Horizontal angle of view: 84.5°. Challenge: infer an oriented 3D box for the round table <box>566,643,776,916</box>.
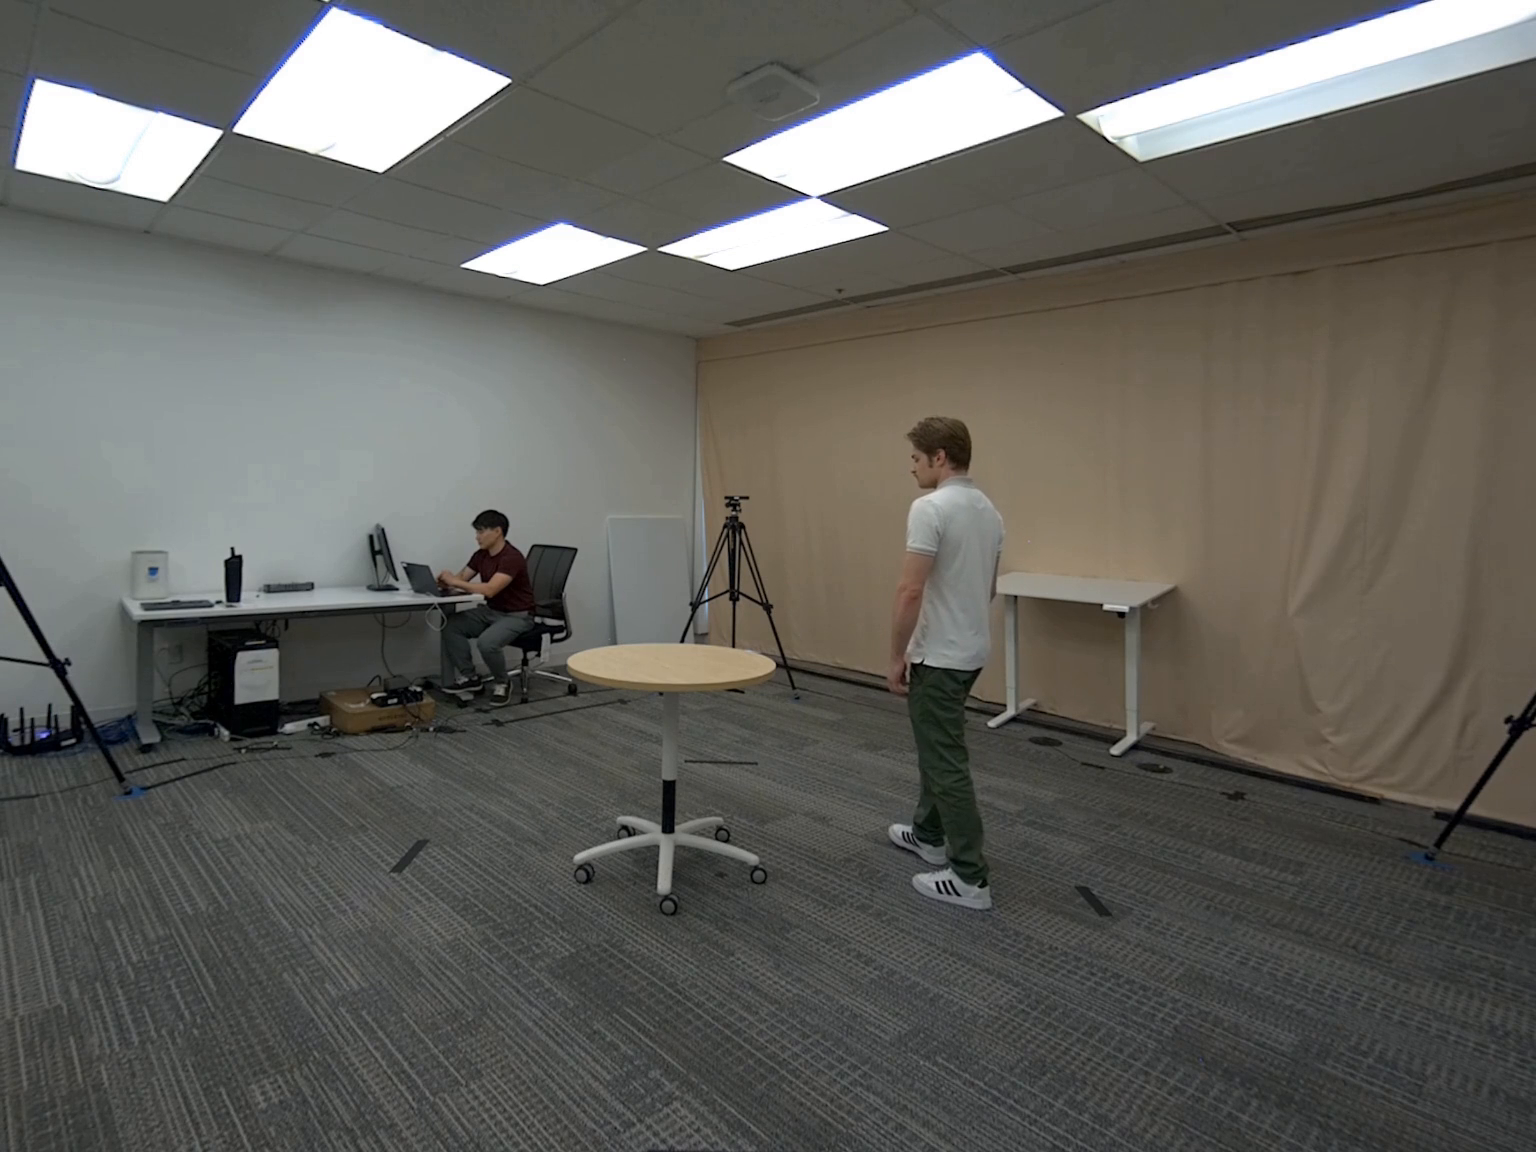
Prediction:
[{"bbox_3d":[-0.379,0.701,3.126,0.784,0.784,0.788,2,4,-2],"label":"round table"}]
